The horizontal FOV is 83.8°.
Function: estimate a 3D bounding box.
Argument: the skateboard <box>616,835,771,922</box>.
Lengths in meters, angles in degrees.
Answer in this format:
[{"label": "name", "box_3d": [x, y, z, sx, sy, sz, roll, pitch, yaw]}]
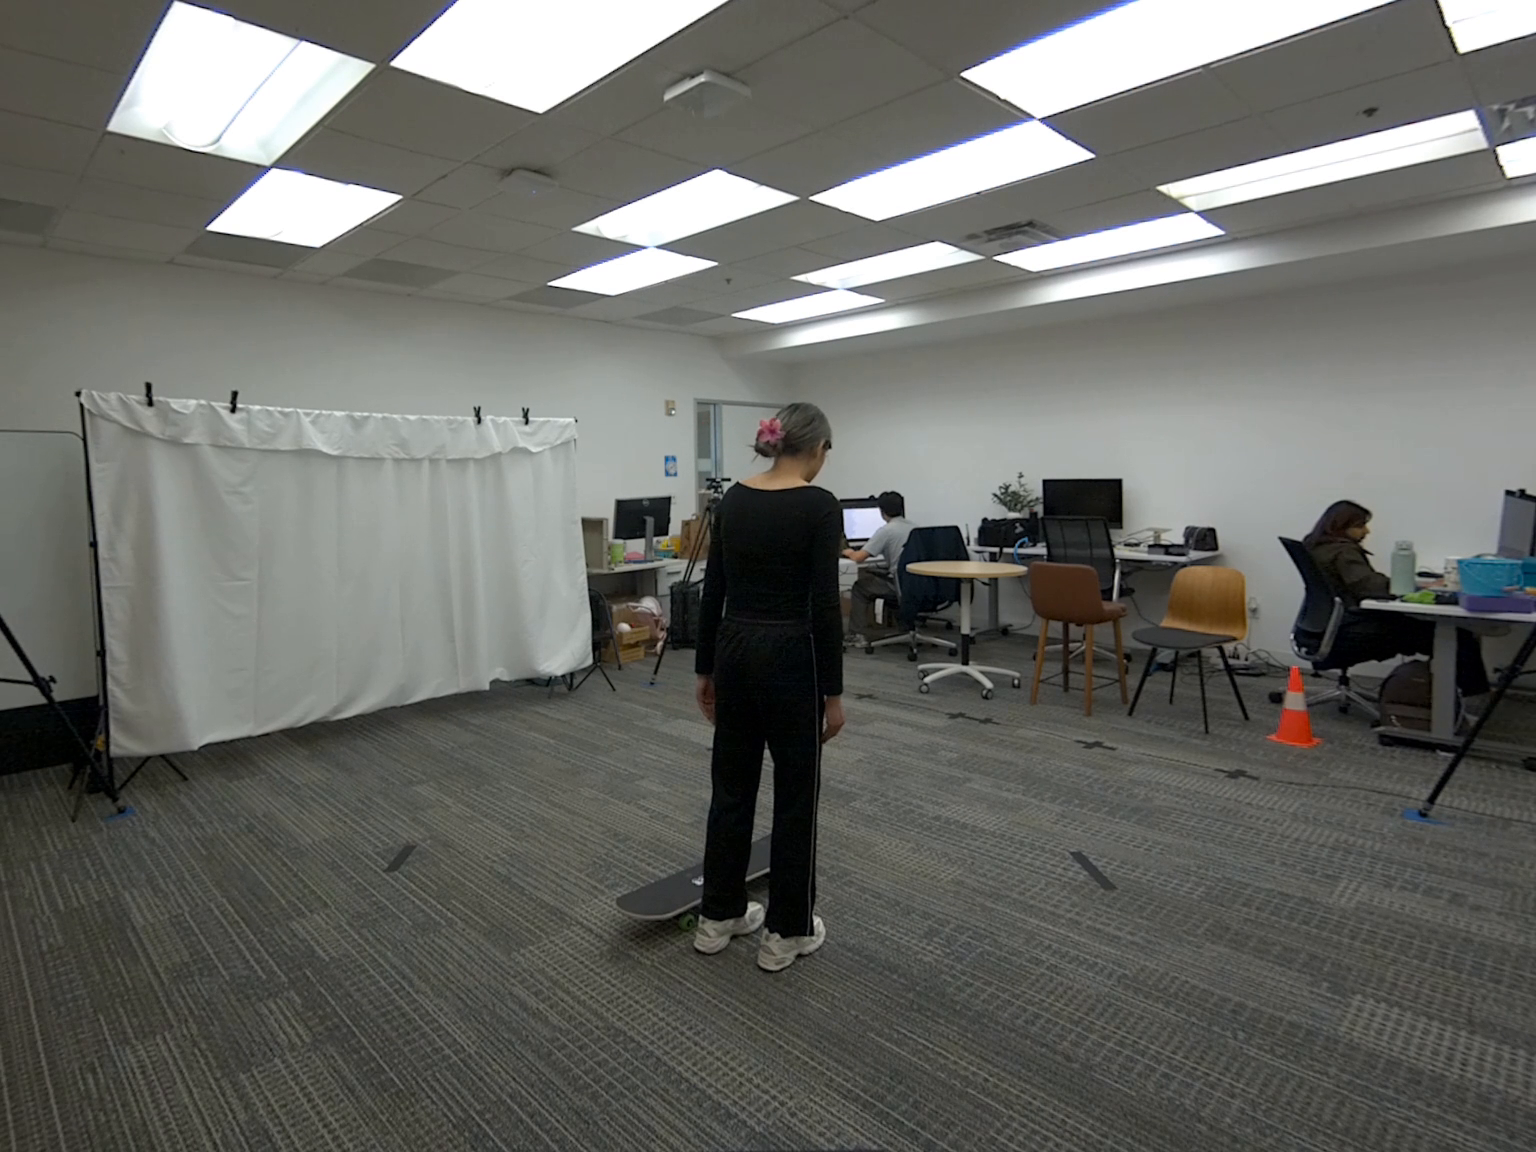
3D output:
[{"label": "skateboard", "box_3d": [-0.163, 1.021, 2.834, 0.765, 0.110, 0.199, -7, 7, -43]}]
